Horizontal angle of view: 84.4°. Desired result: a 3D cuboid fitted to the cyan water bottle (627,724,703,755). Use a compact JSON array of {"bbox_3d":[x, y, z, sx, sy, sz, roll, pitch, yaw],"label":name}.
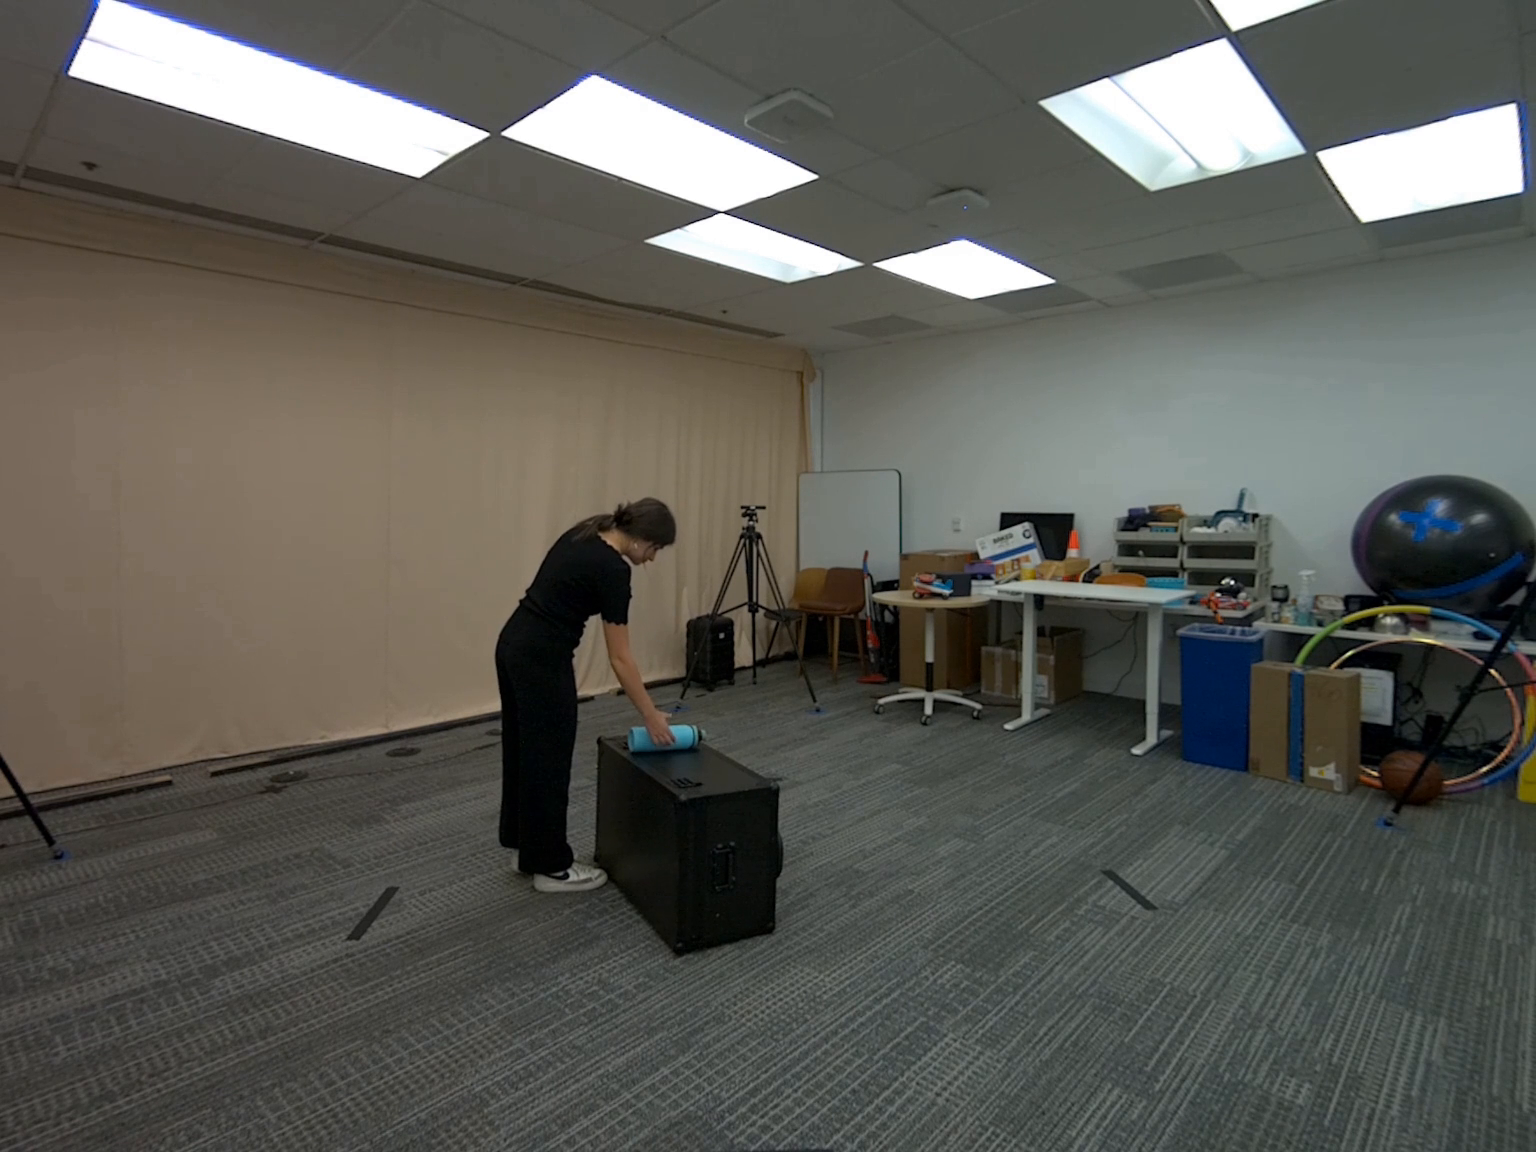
[{"bbox_3d":[-0.372,0.600,3.123,0.277,0.092,0.094,1,3,-22],"label":"cyan water bottle"}]
